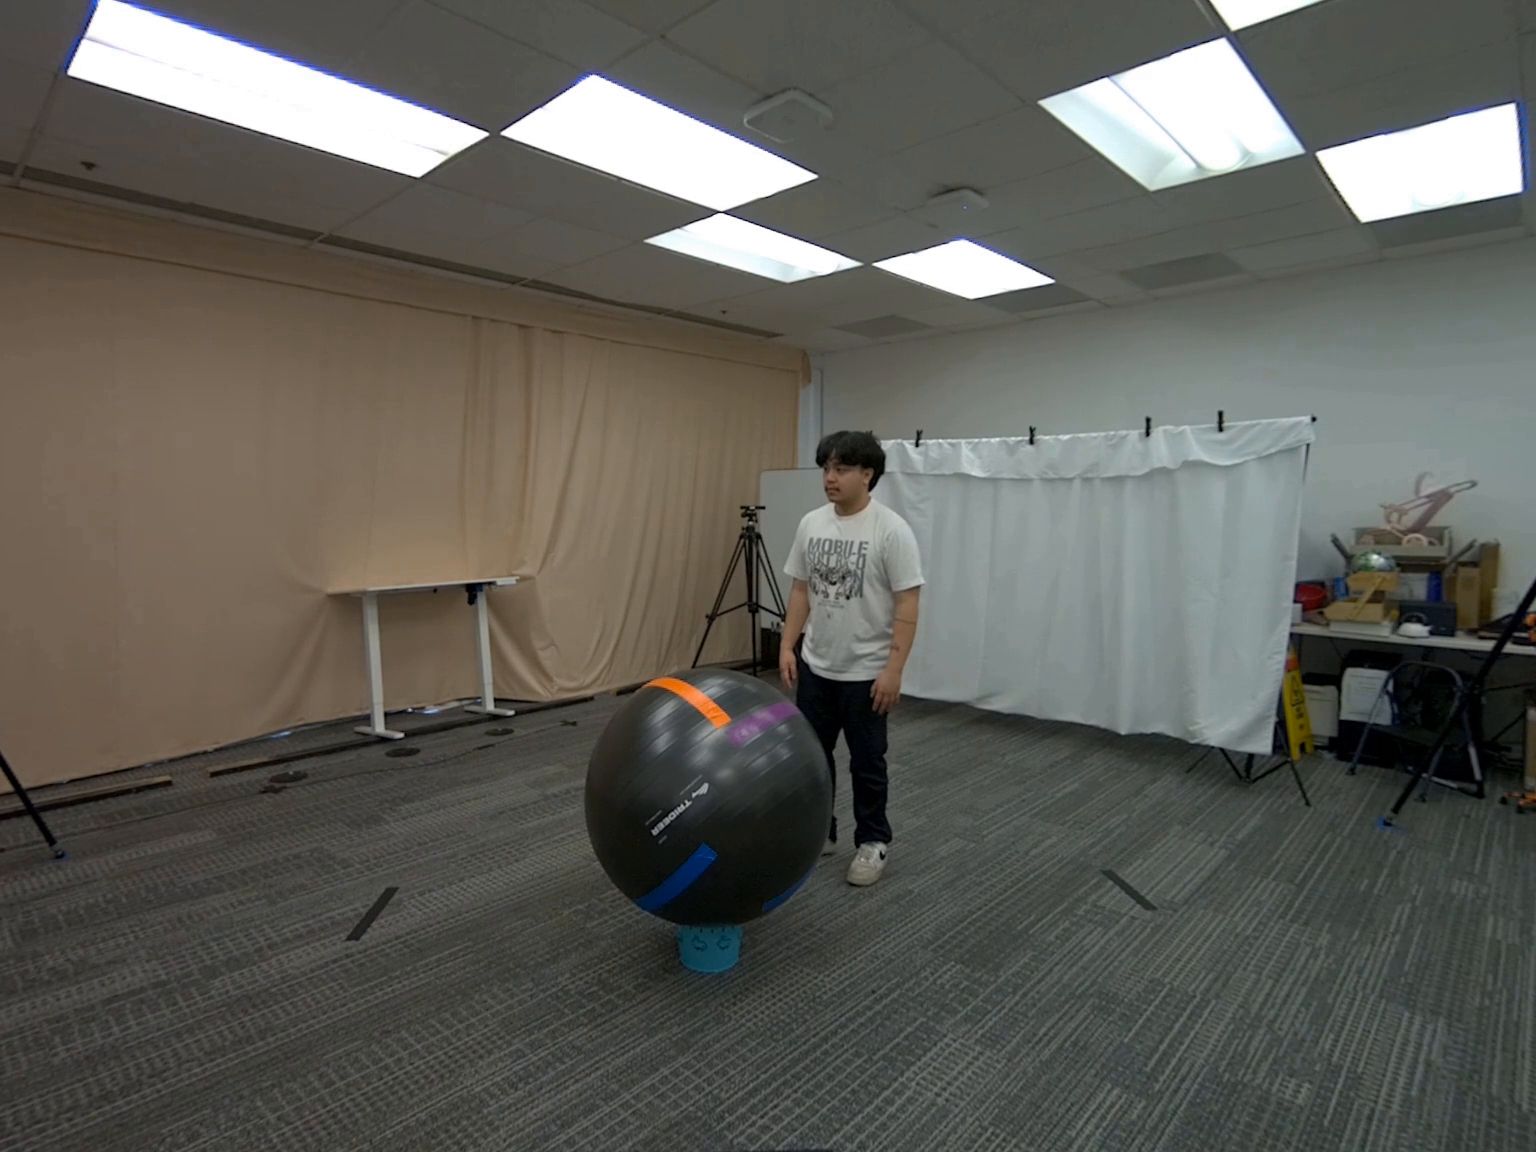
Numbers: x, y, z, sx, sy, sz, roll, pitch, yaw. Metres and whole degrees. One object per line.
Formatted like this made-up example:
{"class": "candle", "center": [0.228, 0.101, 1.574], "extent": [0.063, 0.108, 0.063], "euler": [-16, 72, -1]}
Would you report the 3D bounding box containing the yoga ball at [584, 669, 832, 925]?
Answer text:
{"class": "yoga ball", "center": [-0.187, 0.666, 2.582], "extent": [0.757, 0.756, 0.760], "euler": [0, 4, -2]}
